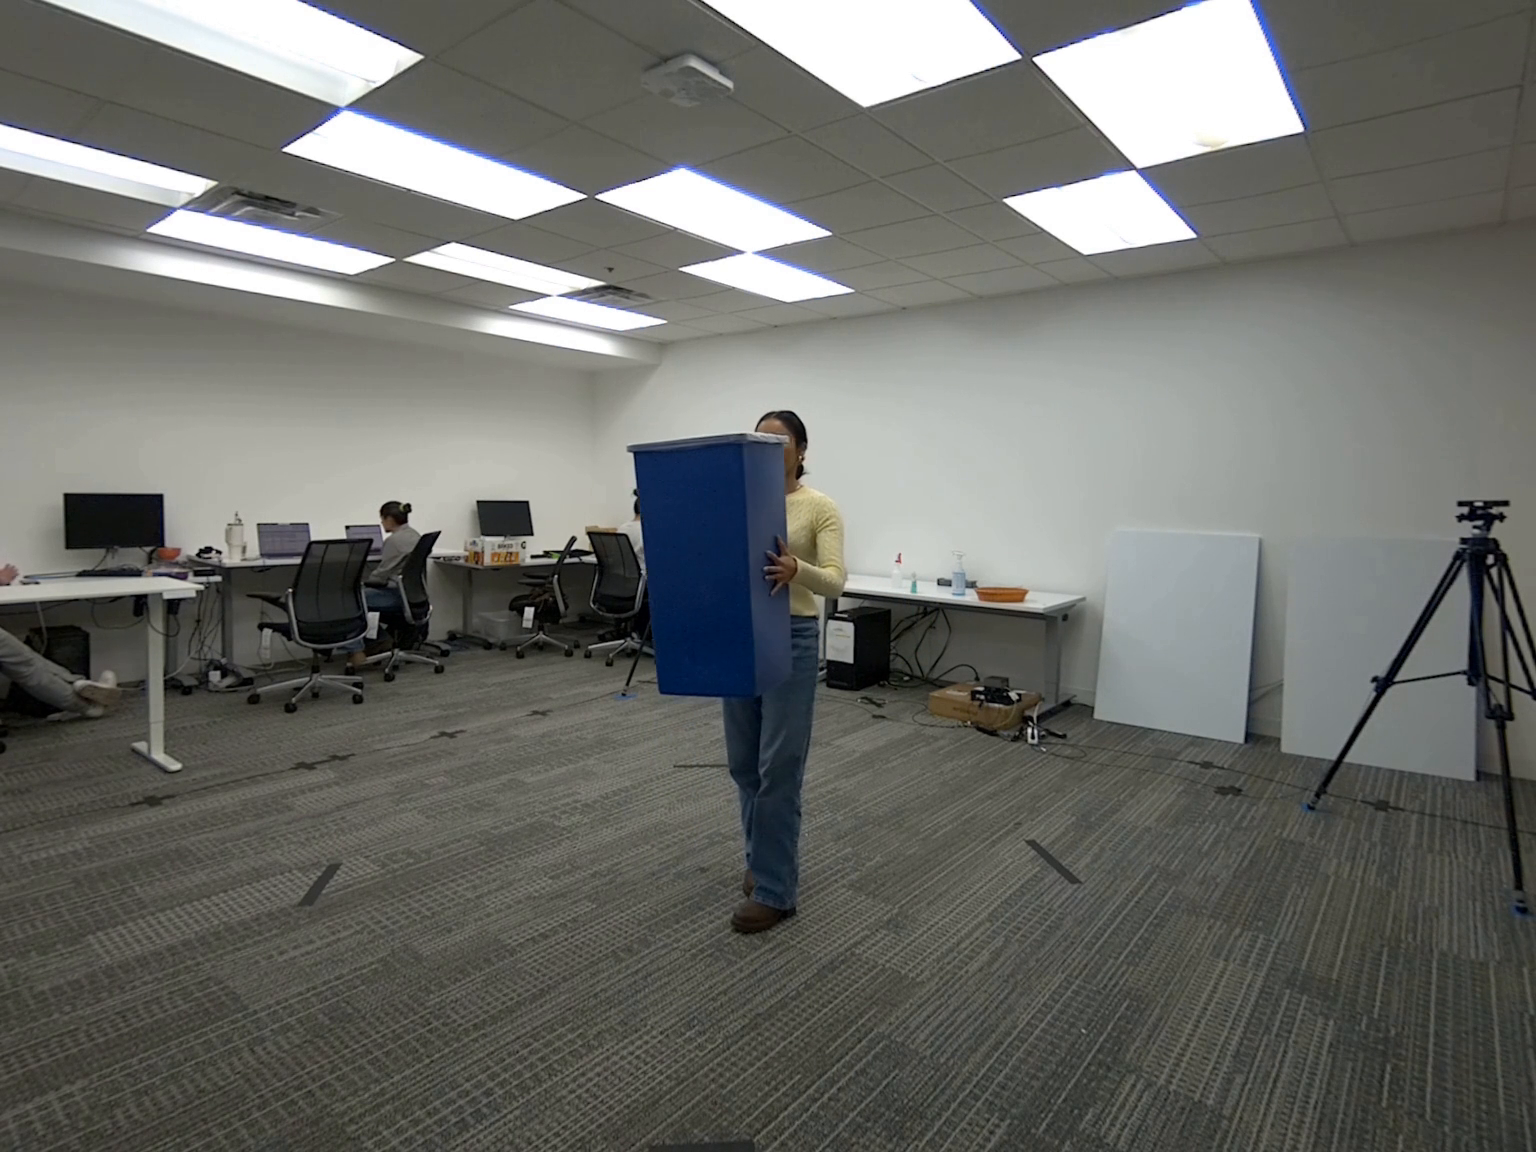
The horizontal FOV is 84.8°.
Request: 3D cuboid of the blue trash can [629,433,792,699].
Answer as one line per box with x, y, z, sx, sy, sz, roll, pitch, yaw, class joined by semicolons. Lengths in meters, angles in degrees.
-0.150;-0.043;2.459;0.386;0.712;0.367;-3;2;23;blue trash can
